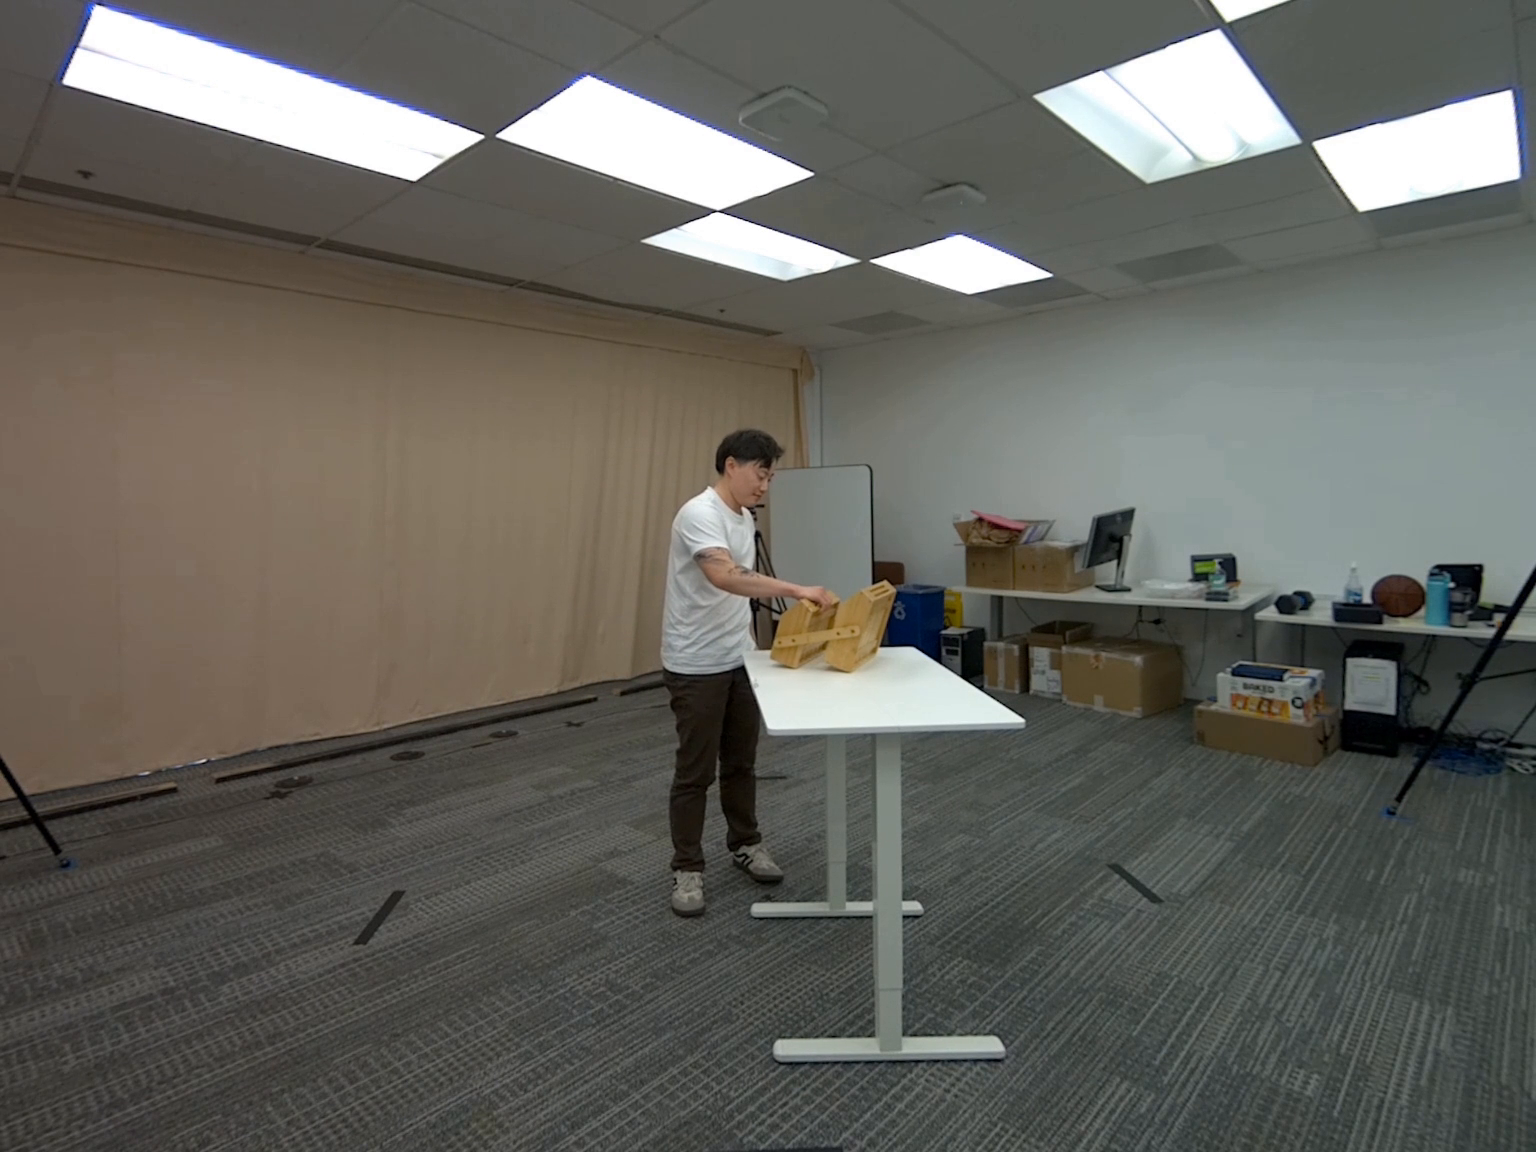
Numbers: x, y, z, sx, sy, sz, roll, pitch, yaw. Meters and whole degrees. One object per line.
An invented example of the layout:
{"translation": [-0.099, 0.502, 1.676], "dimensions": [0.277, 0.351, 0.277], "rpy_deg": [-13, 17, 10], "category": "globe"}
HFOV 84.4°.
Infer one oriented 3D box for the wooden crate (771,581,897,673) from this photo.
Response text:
{"translation": [0.216, 0.143, 2.685], "dimensions": [0.280, 0.301, 0.317], "rpy_deg": [19, 11, 21], "category": "wooden crate"}
